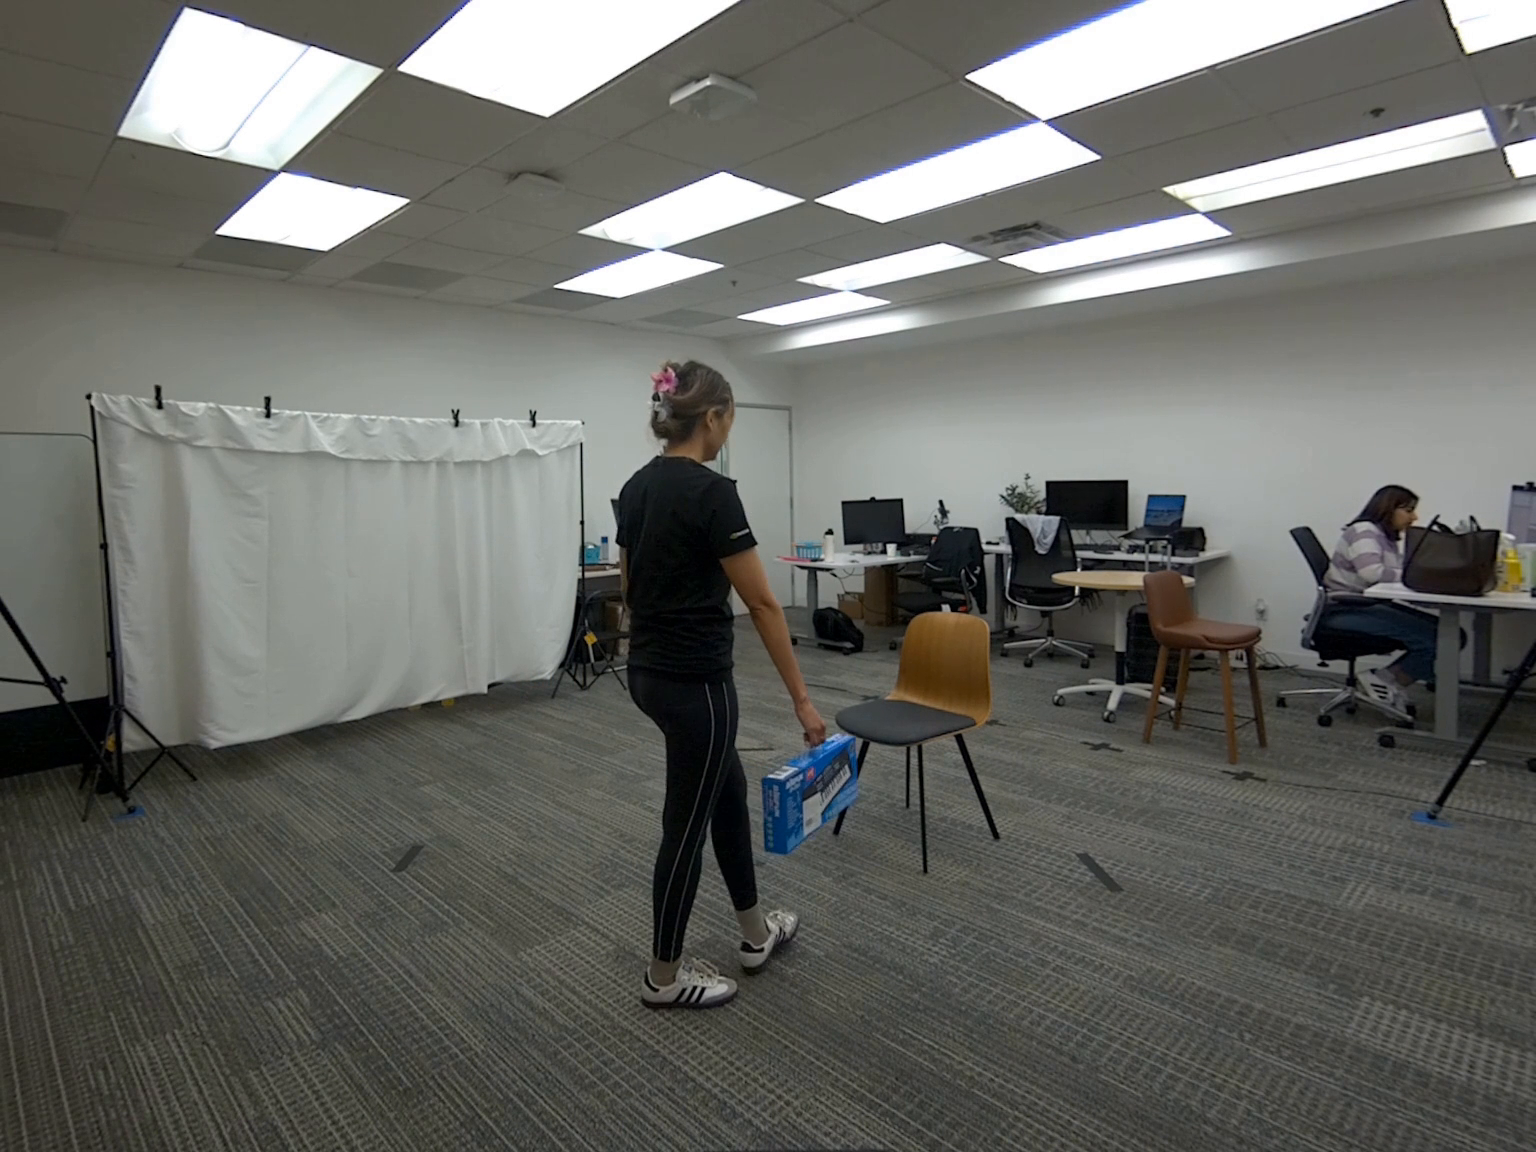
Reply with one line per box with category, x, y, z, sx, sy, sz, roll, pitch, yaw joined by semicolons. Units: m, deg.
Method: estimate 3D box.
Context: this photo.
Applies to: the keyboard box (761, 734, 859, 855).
keyboard box;0.117;0.535;2.145;0.060;0.175;0.427;-2;4;28
